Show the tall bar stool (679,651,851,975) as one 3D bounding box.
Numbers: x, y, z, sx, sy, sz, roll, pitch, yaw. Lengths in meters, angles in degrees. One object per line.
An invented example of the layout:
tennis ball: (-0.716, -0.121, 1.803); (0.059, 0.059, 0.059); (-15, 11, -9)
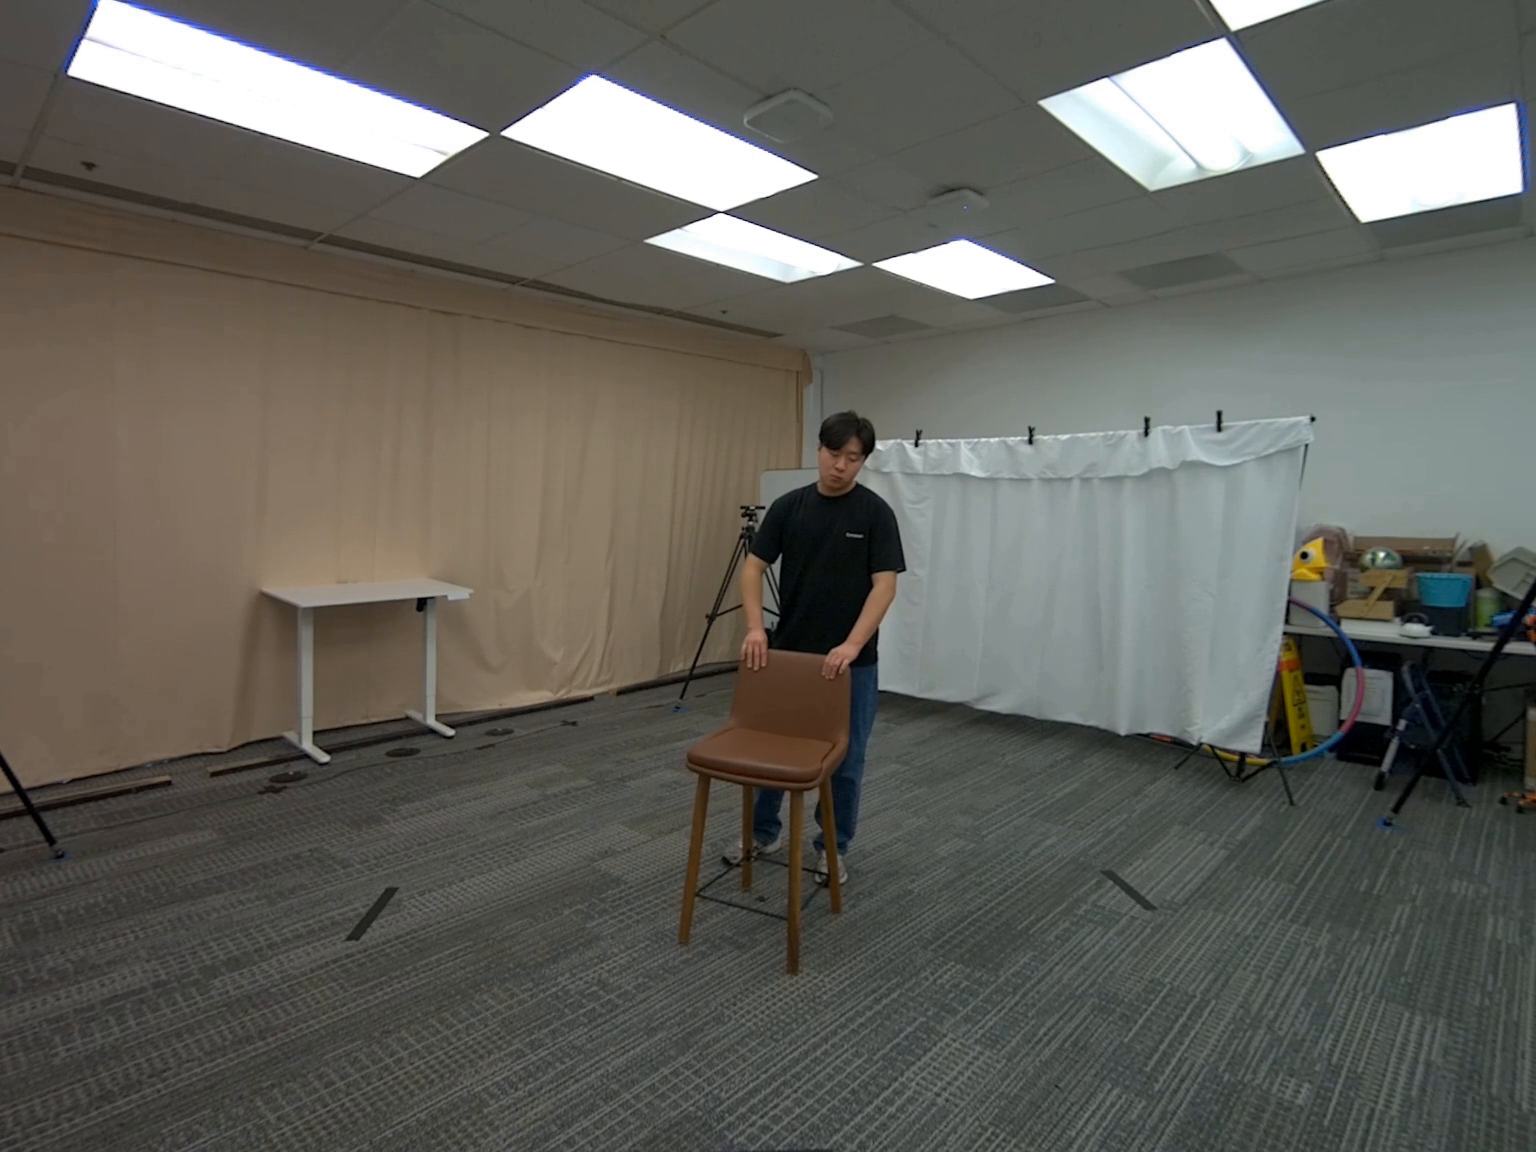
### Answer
tall bar stool: (0.006, 0.720, 2.762); (0.469, 0.889, 0.455); (3, 2, 27)
